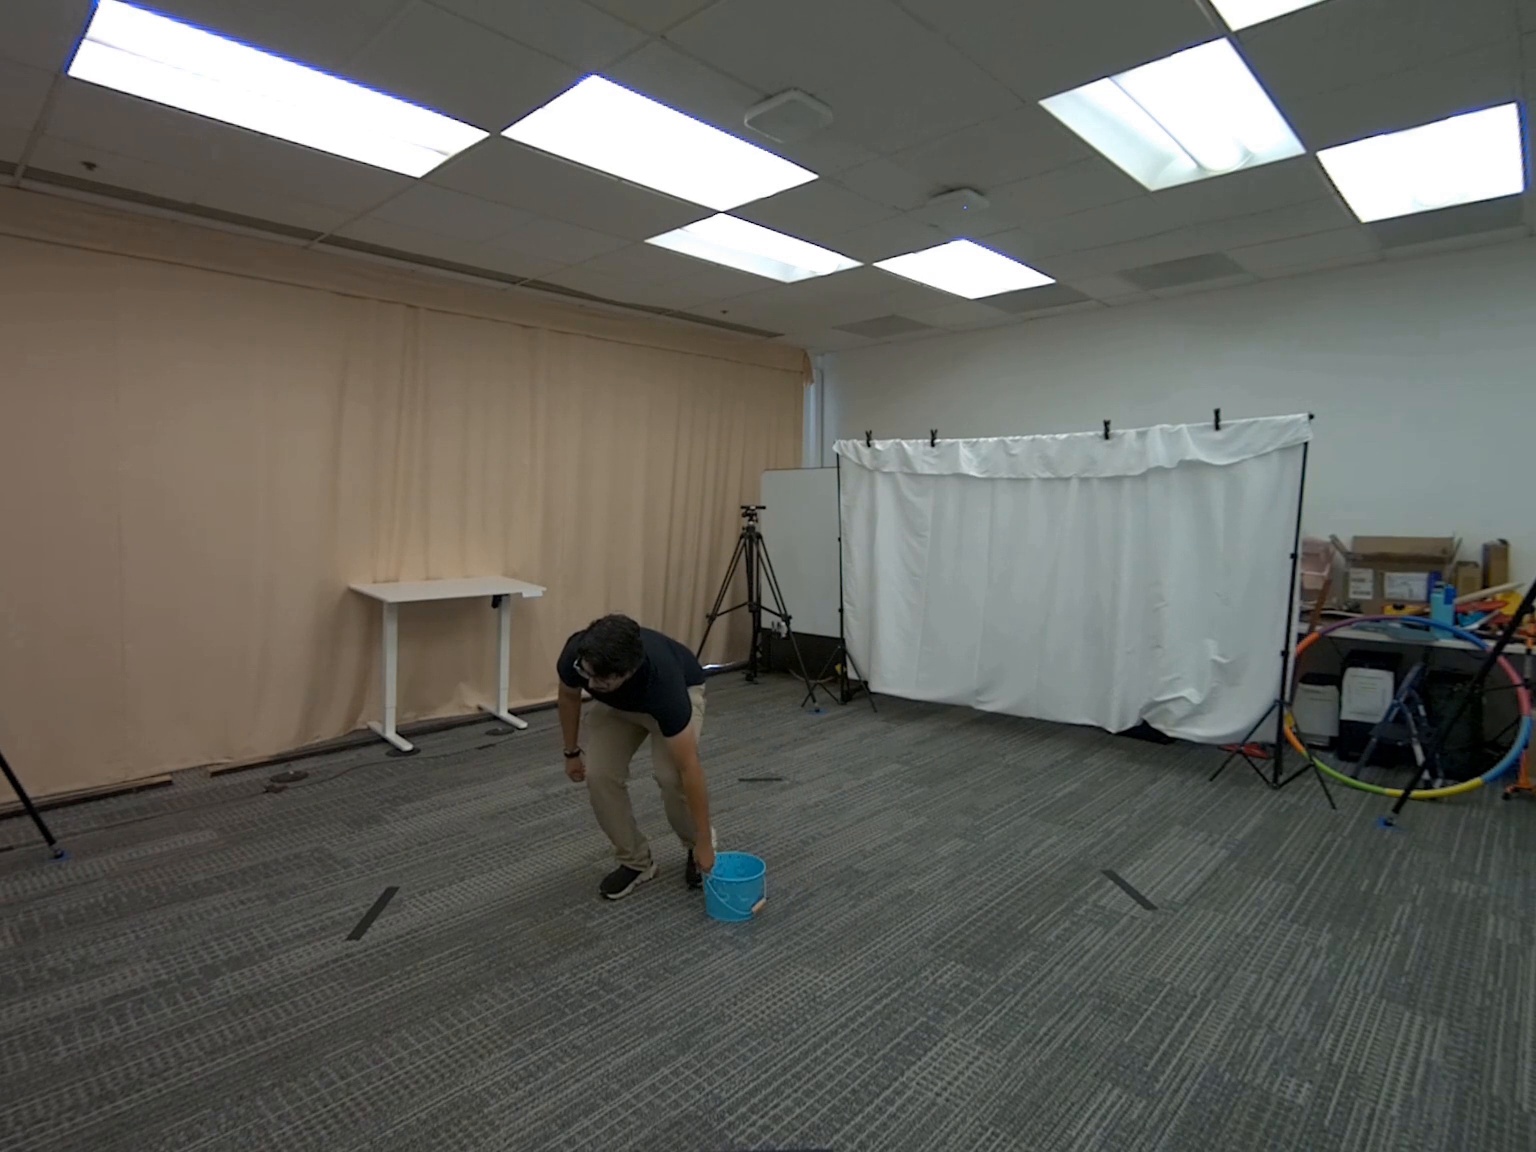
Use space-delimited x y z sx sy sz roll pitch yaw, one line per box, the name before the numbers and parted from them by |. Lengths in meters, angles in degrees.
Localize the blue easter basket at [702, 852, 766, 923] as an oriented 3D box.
blue easter basket | -0.121 1.073 2.895 0.243 0.155 0.244 -2 5 -2
